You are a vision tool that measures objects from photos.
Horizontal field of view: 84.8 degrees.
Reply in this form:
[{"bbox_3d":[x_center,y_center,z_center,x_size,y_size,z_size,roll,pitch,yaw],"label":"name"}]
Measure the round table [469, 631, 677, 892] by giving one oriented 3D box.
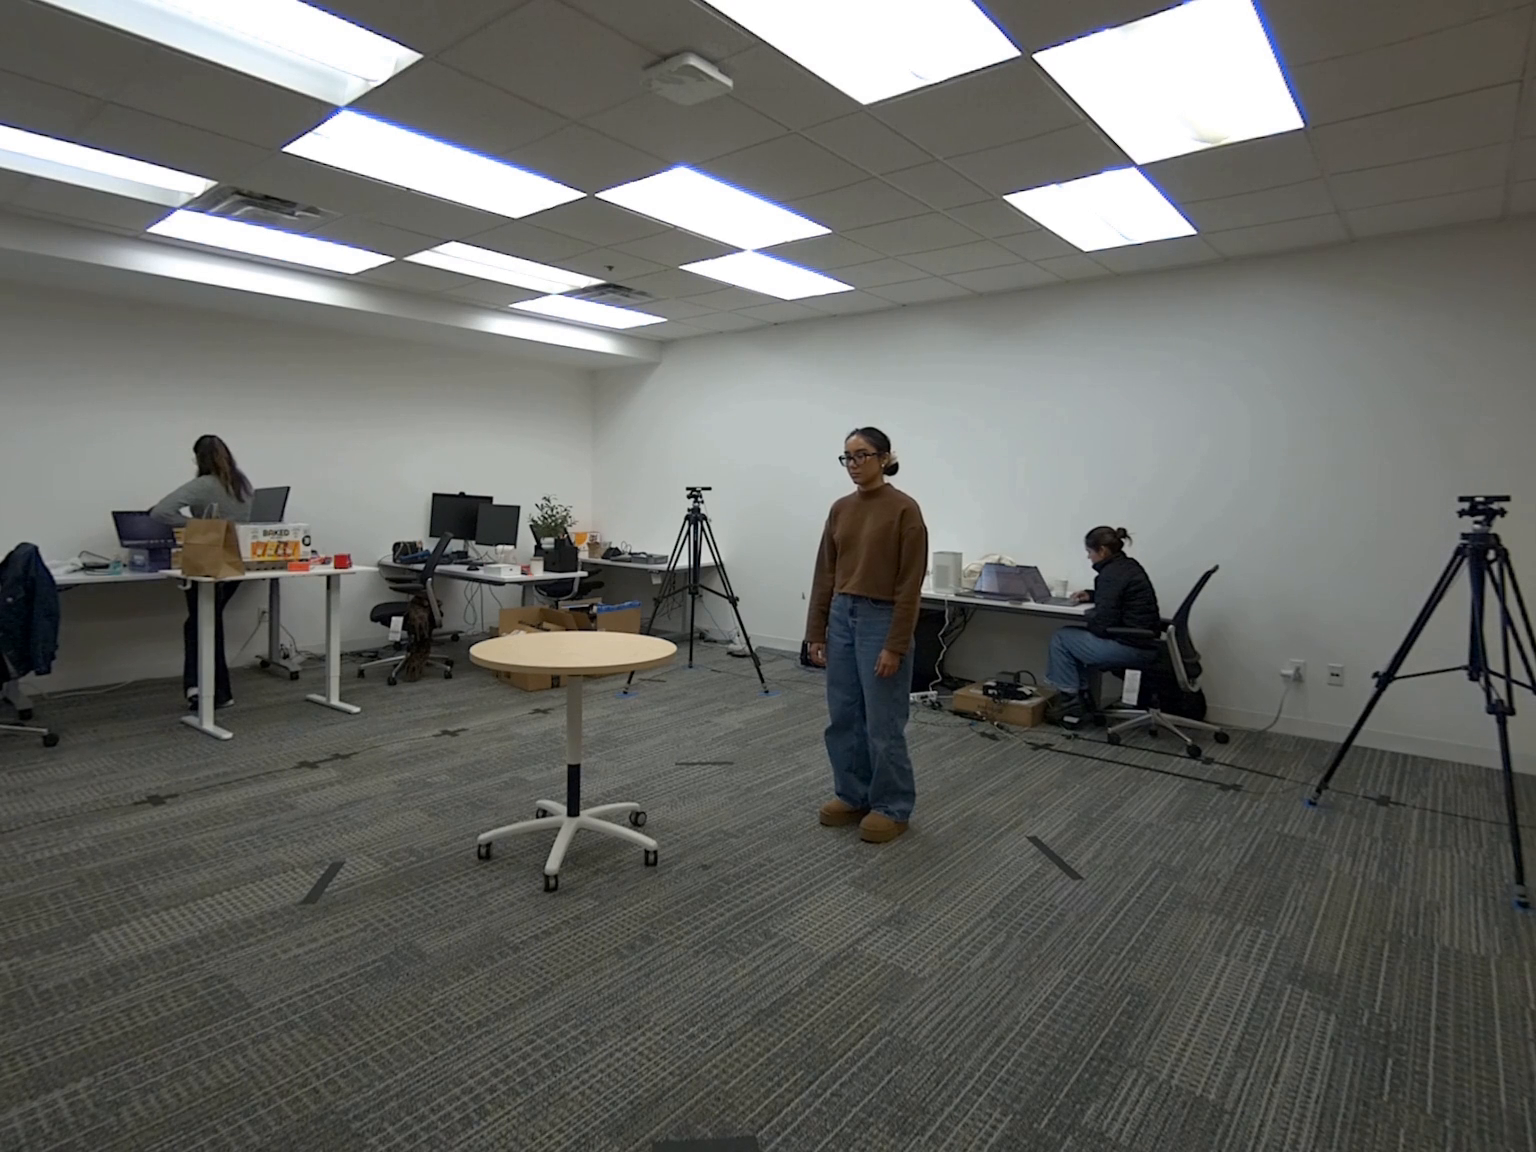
[{"bbox_3d":[-0.750,0.651,3.233,0.784,0.784,0.789,1,4,-2],"label":"round table"}]
